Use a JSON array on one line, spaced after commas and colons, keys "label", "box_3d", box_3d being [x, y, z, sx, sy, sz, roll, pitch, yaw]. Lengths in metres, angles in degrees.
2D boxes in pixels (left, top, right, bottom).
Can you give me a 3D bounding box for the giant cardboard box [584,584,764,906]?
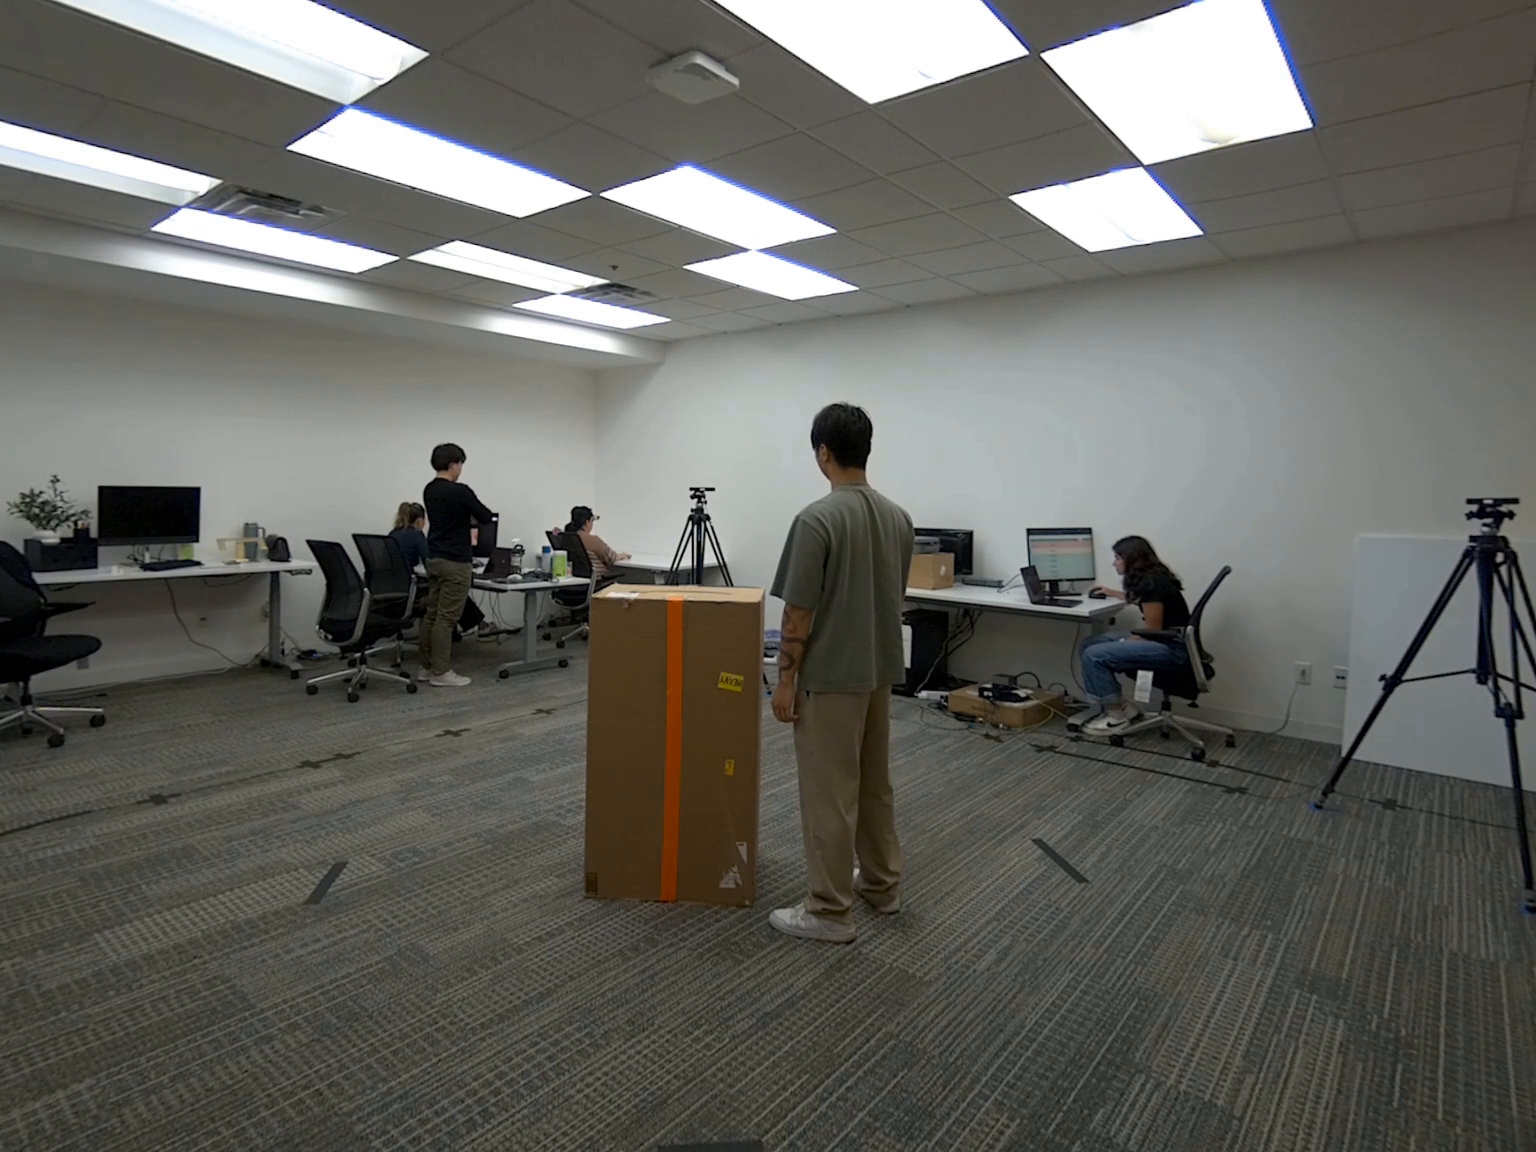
[{"label": "giant cardboard box", "box_3d": [-0.331, 0.563, 3.027, 0.580, 1.023, 0.425, 2, 3, 3]}]
